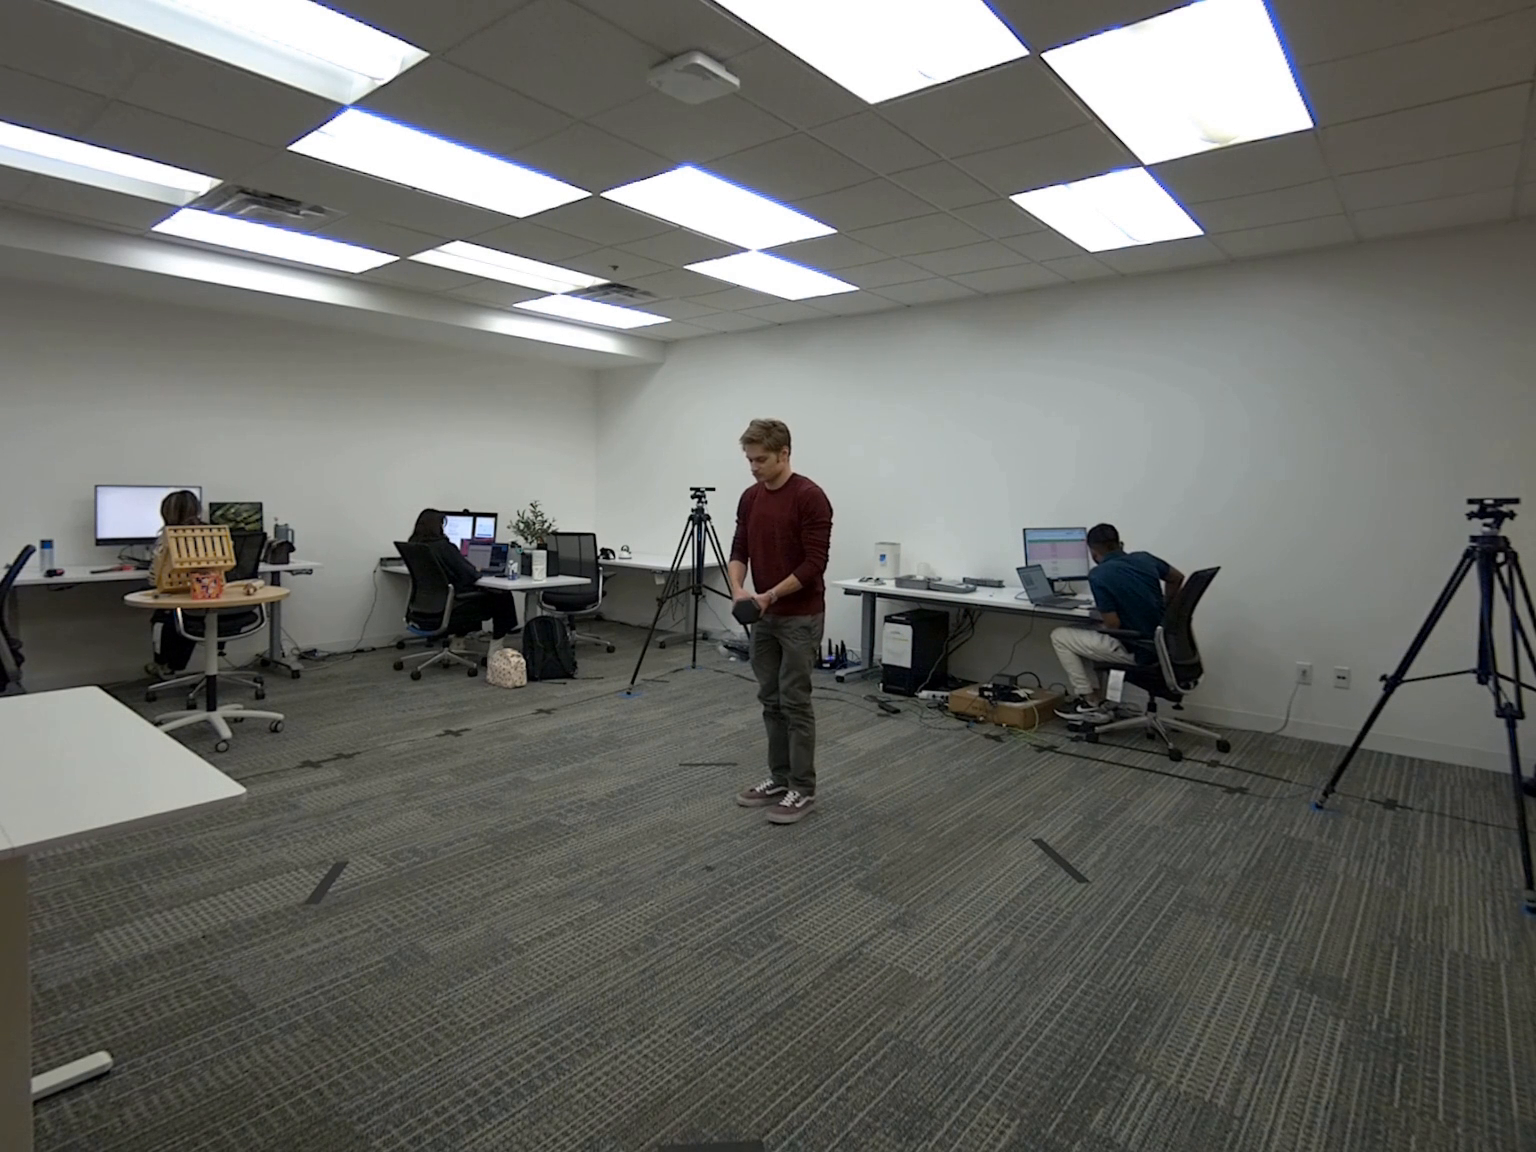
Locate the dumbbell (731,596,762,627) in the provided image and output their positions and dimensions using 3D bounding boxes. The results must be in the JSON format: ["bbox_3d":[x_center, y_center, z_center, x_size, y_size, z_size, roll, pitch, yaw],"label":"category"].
[{"bbox_3d":[-0.093,0.131,3.575,0.109,0.124,0.292,-39,-2,1],"label":"dumbbell"}]
